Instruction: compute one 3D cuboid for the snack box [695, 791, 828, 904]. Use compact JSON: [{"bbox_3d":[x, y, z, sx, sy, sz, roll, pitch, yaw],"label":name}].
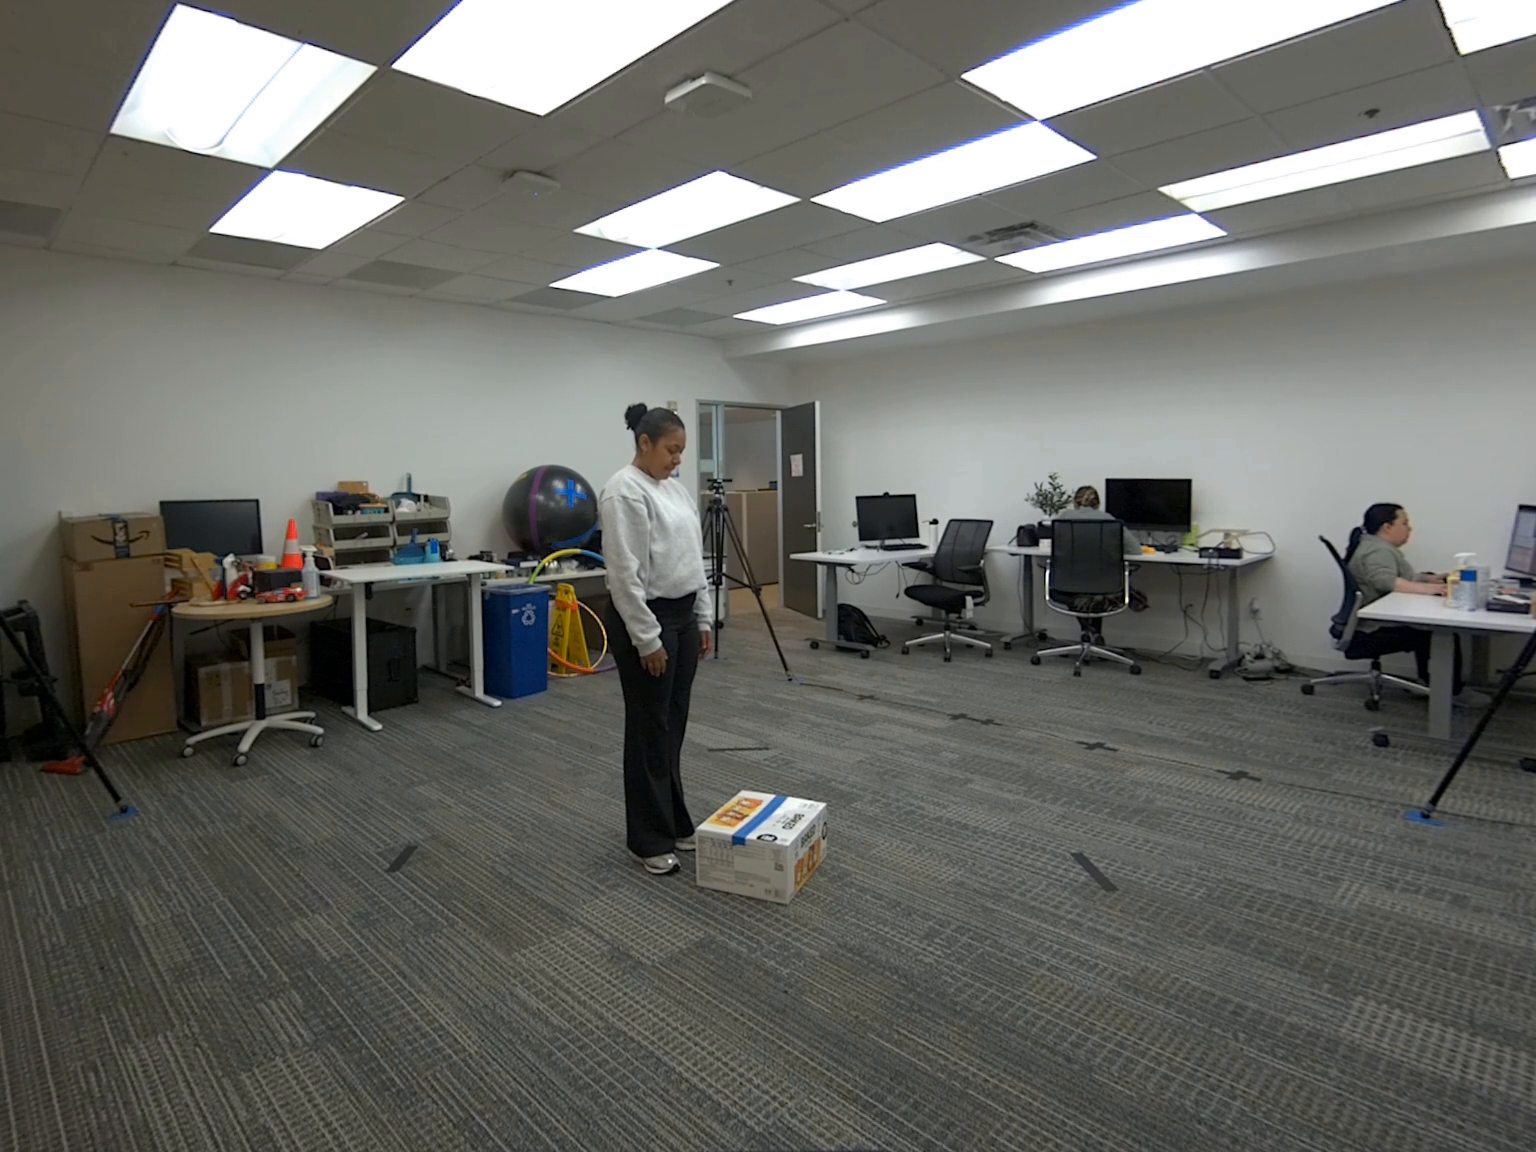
[{"bbox_3d":[-0.010,0.952,3.035,0.348,0.205,0.398,1,6,24],"label":"snack box"}]
